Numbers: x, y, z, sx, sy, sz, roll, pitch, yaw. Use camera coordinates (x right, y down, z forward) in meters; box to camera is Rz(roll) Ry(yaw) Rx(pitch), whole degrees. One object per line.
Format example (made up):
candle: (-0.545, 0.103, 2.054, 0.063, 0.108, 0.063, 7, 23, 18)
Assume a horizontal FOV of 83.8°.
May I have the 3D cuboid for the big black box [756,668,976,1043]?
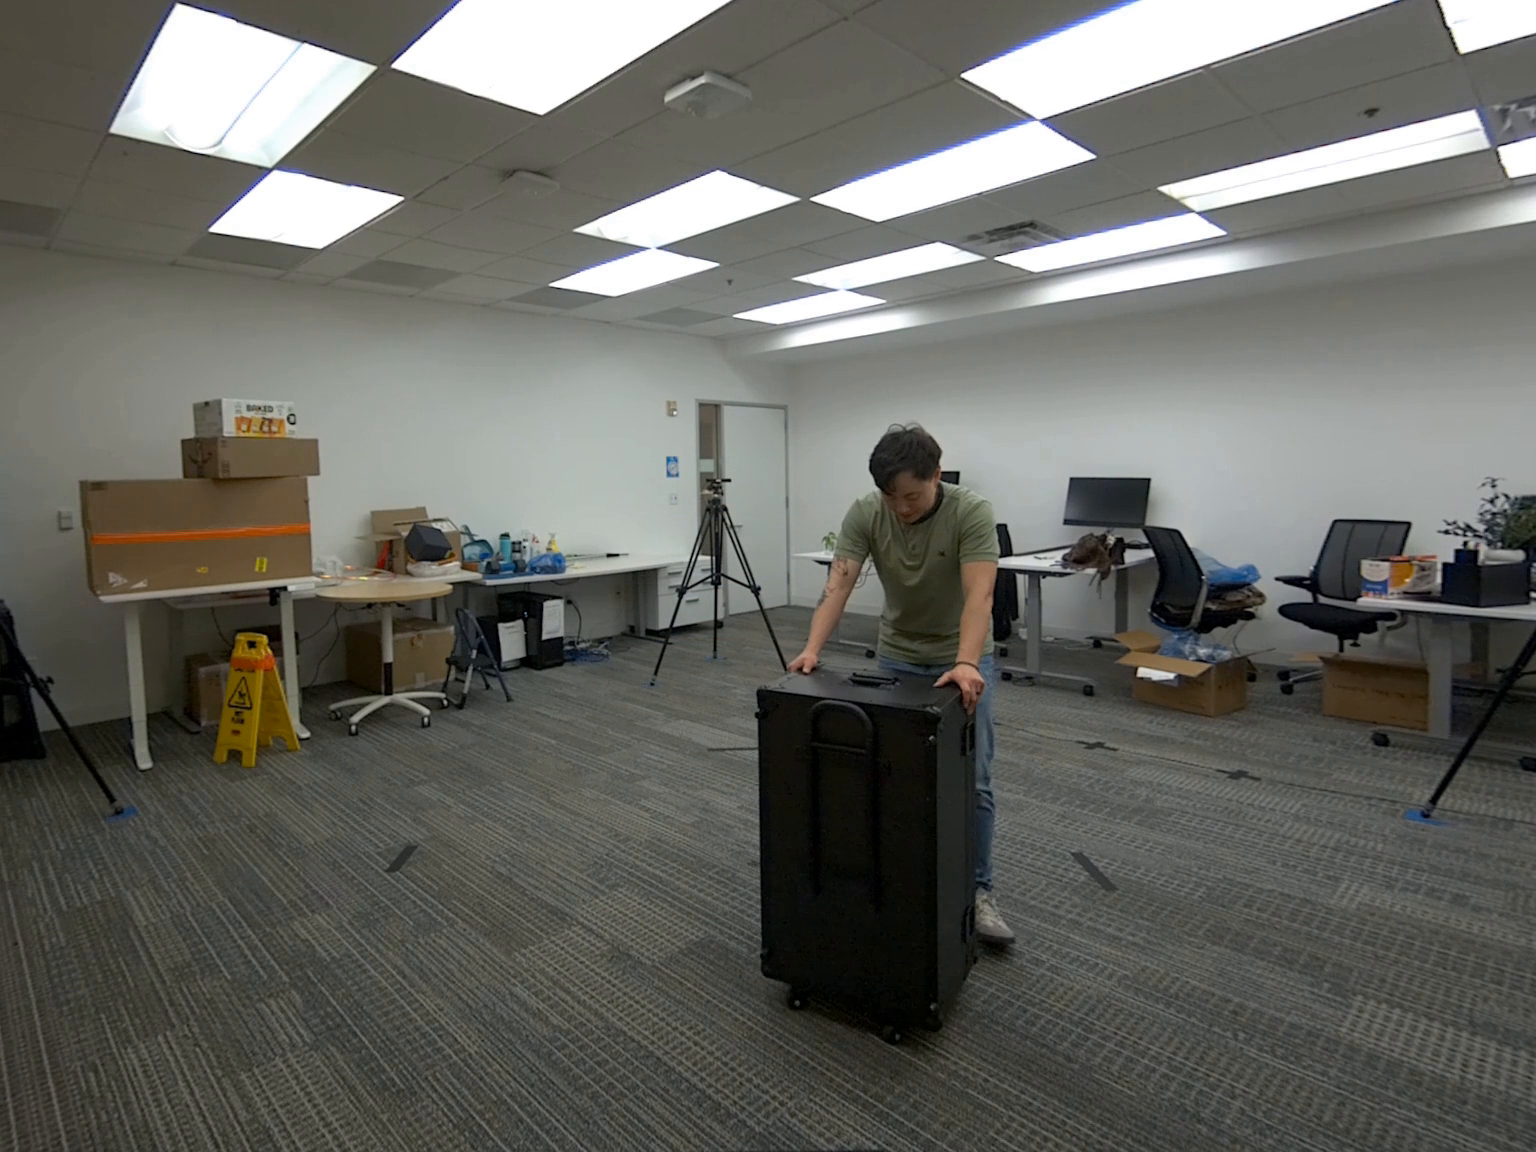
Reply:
big black box: (0.269, 0.711, 2.268, 0.535, 0.857, 0.388, 2, 6, 31)
